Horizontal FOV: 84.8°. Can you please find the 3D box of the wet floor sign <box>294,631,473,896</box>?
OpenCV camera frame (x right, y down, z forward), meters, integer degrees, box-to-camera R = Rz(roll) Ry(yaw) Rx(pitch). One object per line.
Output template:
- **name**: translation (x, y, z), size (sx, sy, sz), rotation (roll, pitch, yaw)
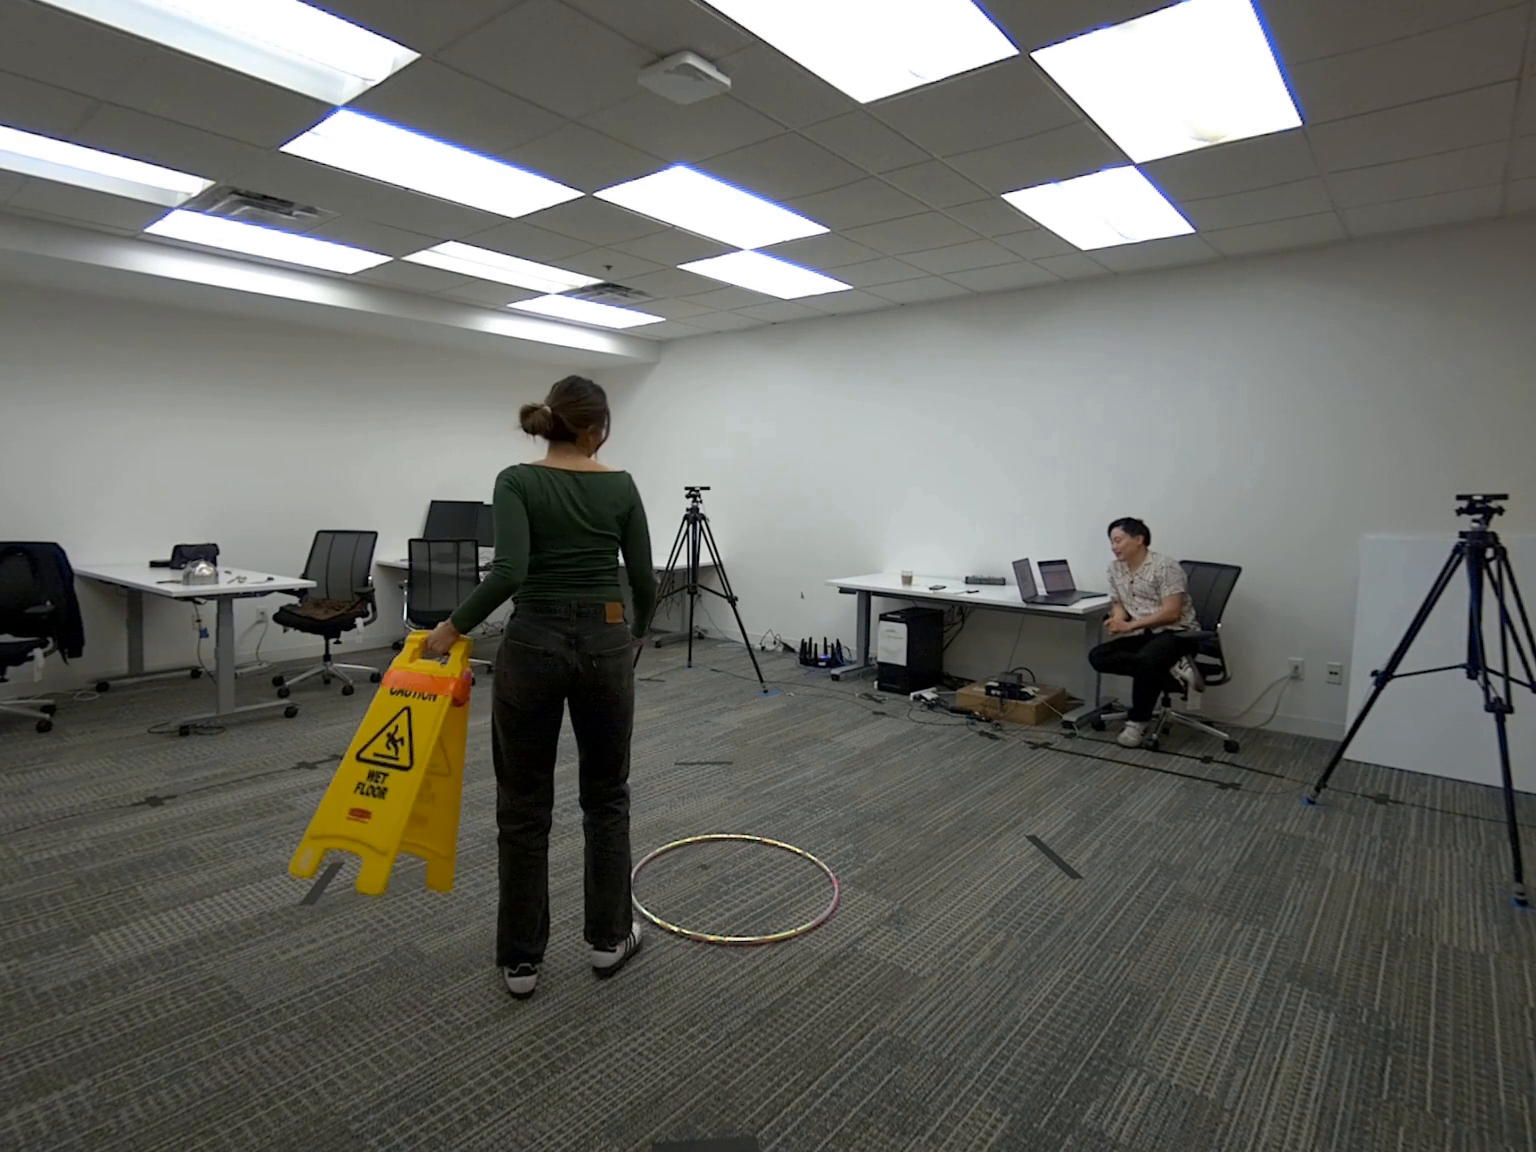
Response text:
- **wet floor sign**: translation (-0.935, 0.455, 2.250), size (0.287, 0.655, 0.281), rotation (3, -18, 13)
